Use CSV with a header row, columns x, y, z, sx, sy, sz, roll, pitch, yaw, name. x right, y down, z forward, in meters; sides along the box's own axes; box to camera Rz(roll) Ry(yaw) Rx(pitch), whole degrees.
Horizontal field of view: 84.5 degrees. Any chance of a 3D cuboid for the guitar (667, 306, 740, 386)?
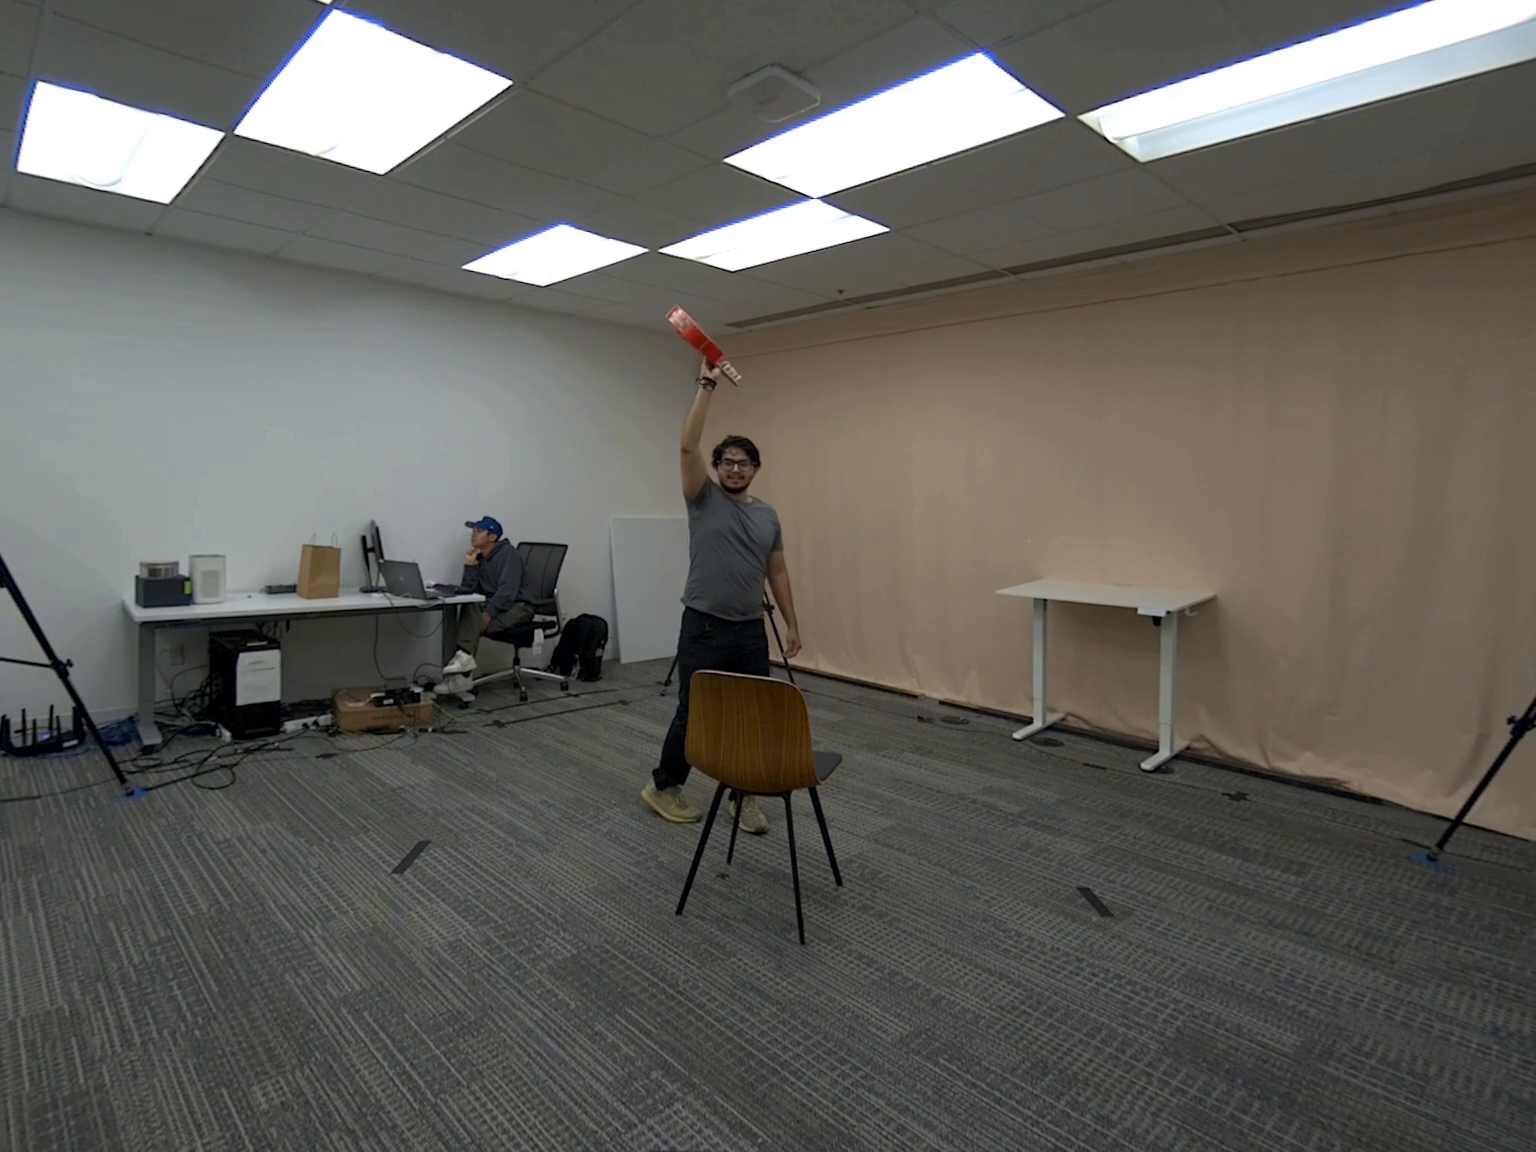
x,y,z,sx,sy,sz,roll,pitch,yaw,name
-0.250,-0.893,3.291,0.197,0.071,0.487,51,11,20,guitar
